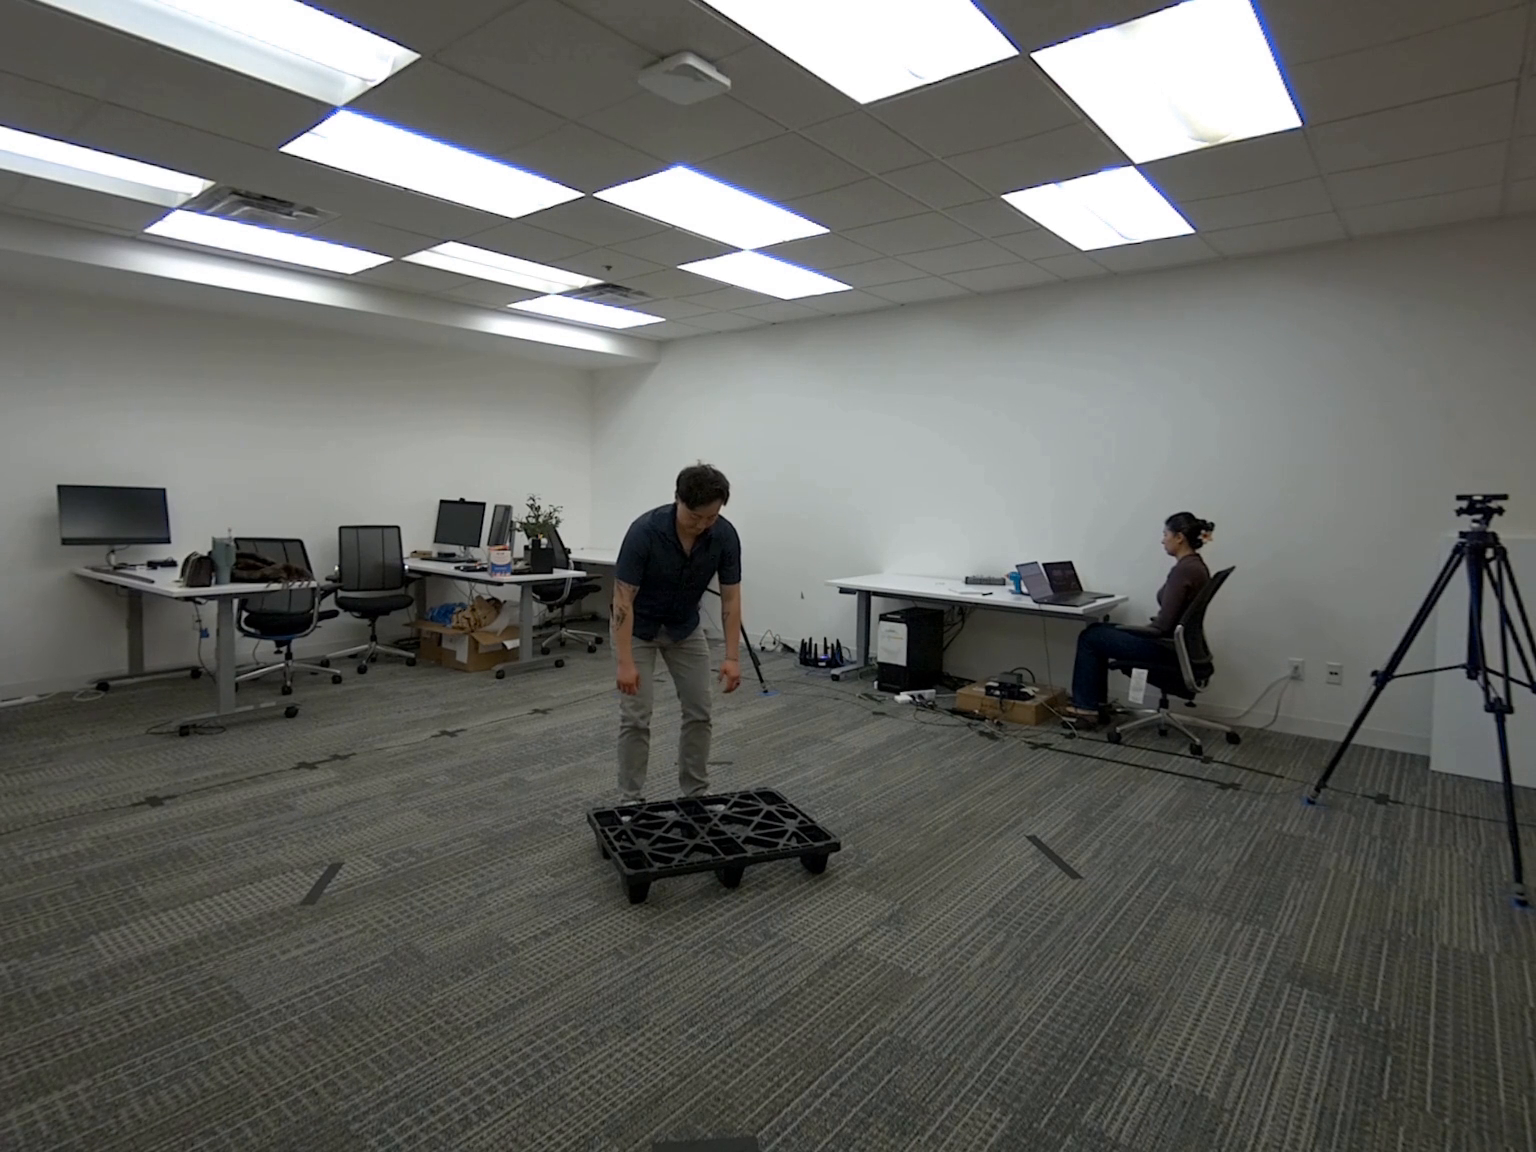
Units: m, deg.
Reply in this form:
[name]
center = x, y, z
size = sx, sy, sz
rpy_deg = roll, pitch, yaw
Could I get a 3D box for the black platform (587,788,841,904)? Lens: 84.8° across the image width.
[black platform]
center = -0.225, 0.991, 3.169
size = 0.788, 0.142, 0.621
rpy_deg = -2, 7, -23
